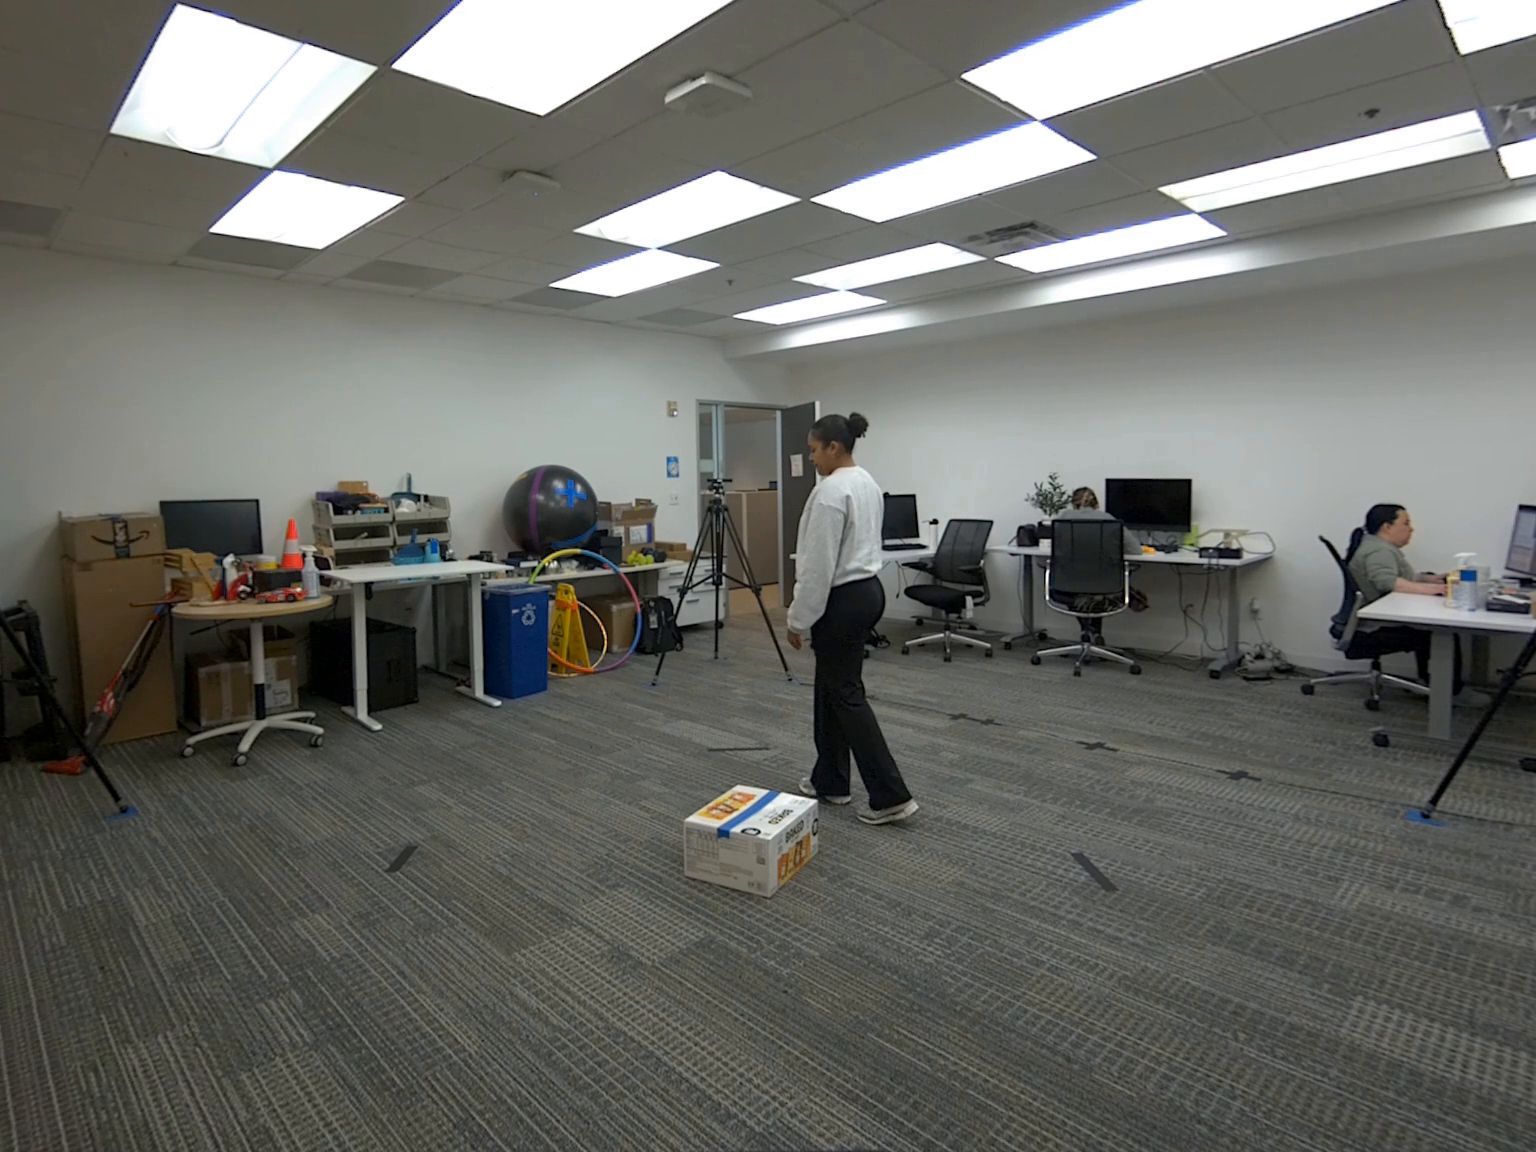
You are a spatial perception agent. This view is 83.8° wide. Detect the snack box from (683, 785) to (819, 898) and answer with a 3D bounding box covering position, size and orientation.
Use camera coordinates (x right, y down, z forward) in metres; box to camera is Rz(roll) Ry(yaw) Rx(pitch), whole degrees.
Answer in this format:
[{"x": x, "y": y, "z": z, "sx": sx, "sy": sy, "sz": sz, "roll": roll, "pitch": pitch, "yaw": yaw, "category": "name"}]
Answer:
[{"x": -0.053, "y": 0.946, "z": 3.091, "sx": 0.349, "sy": 0.205, "sz": 0.397, "roll": 2, "pitch": 6, "yaw": 29, "category": "snack box"}]
